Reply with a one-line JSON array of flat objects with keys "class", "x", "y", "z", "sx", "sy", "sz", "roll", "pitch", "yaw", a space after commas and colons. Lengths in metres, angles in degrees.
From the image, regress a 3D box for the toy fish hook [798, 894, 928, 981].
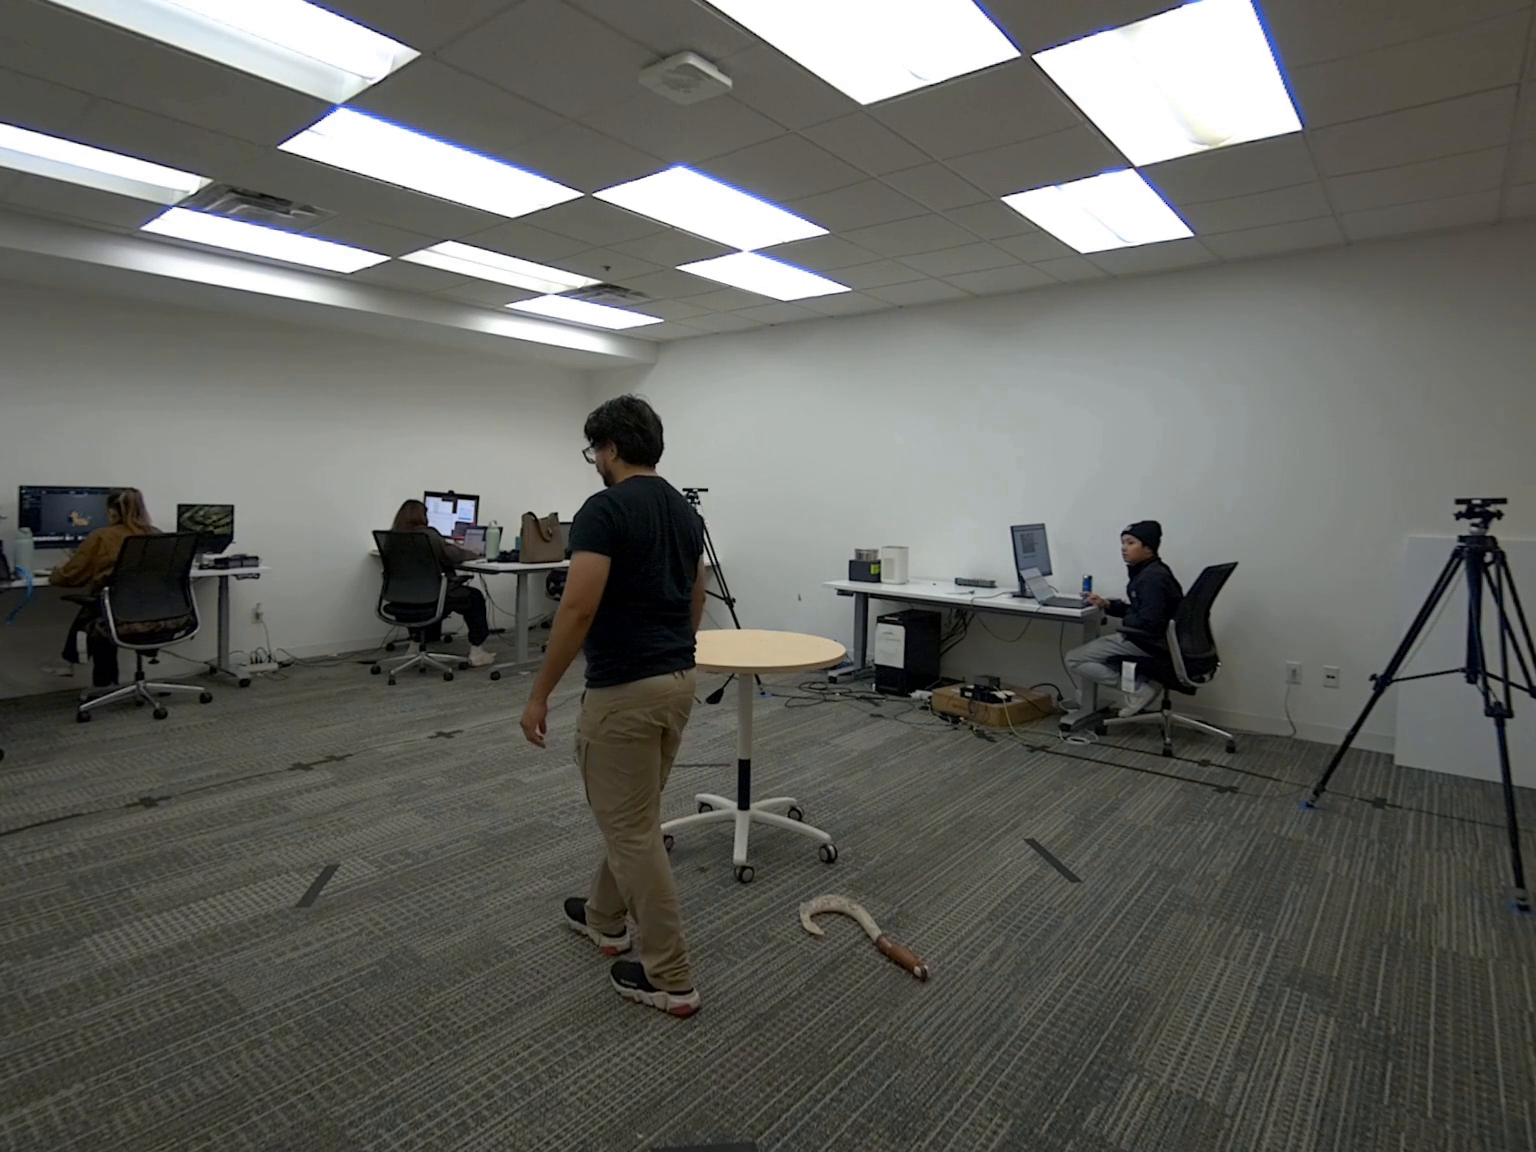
[{"class": "toy fish hook", "x": 0.271, "y": 1.112, "z": 2.622, "sx": 0.219, "sy": 0.048, "sz": 0.522, "roll": -9, "pitch": 10, "yaw": -29}]
